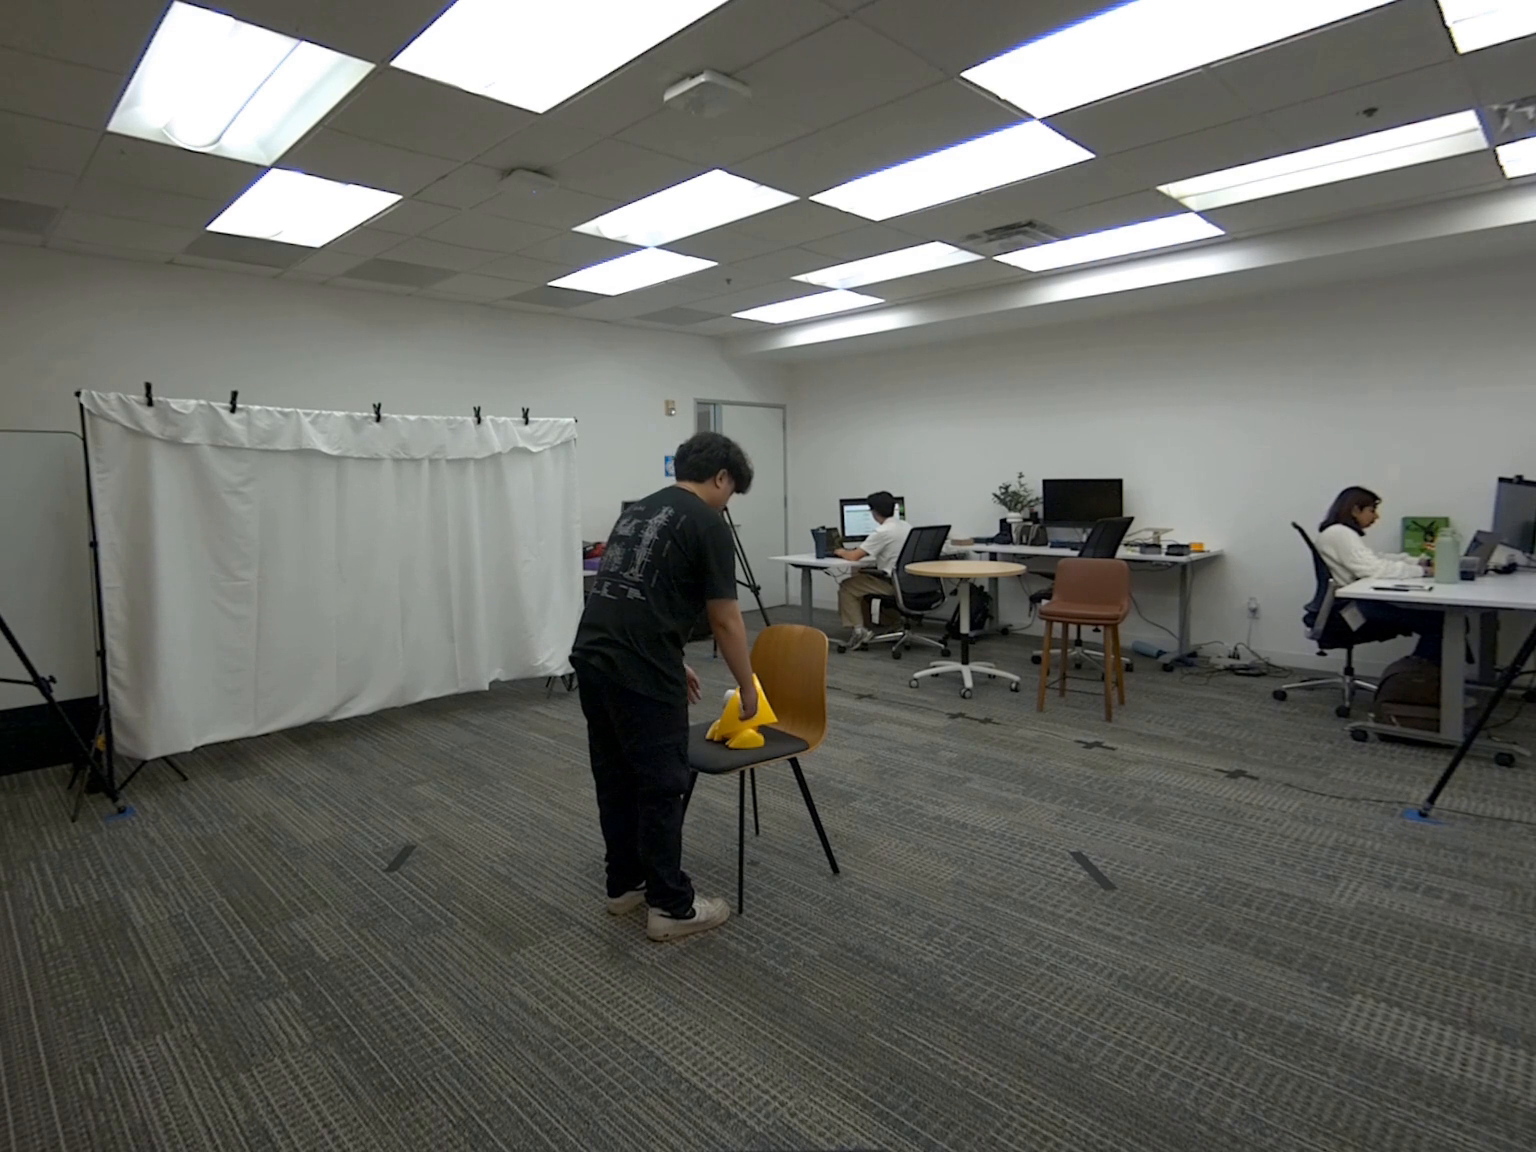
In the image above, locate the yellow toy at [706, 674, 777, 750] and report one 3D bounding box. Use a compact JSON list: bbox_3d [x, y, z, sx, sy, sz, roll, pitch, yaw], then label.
[{"bbox_3d":[-0.095,0.462,2.996,0.187,0.230,0.211,1,4,-40],"label":"yellow toy"}]
